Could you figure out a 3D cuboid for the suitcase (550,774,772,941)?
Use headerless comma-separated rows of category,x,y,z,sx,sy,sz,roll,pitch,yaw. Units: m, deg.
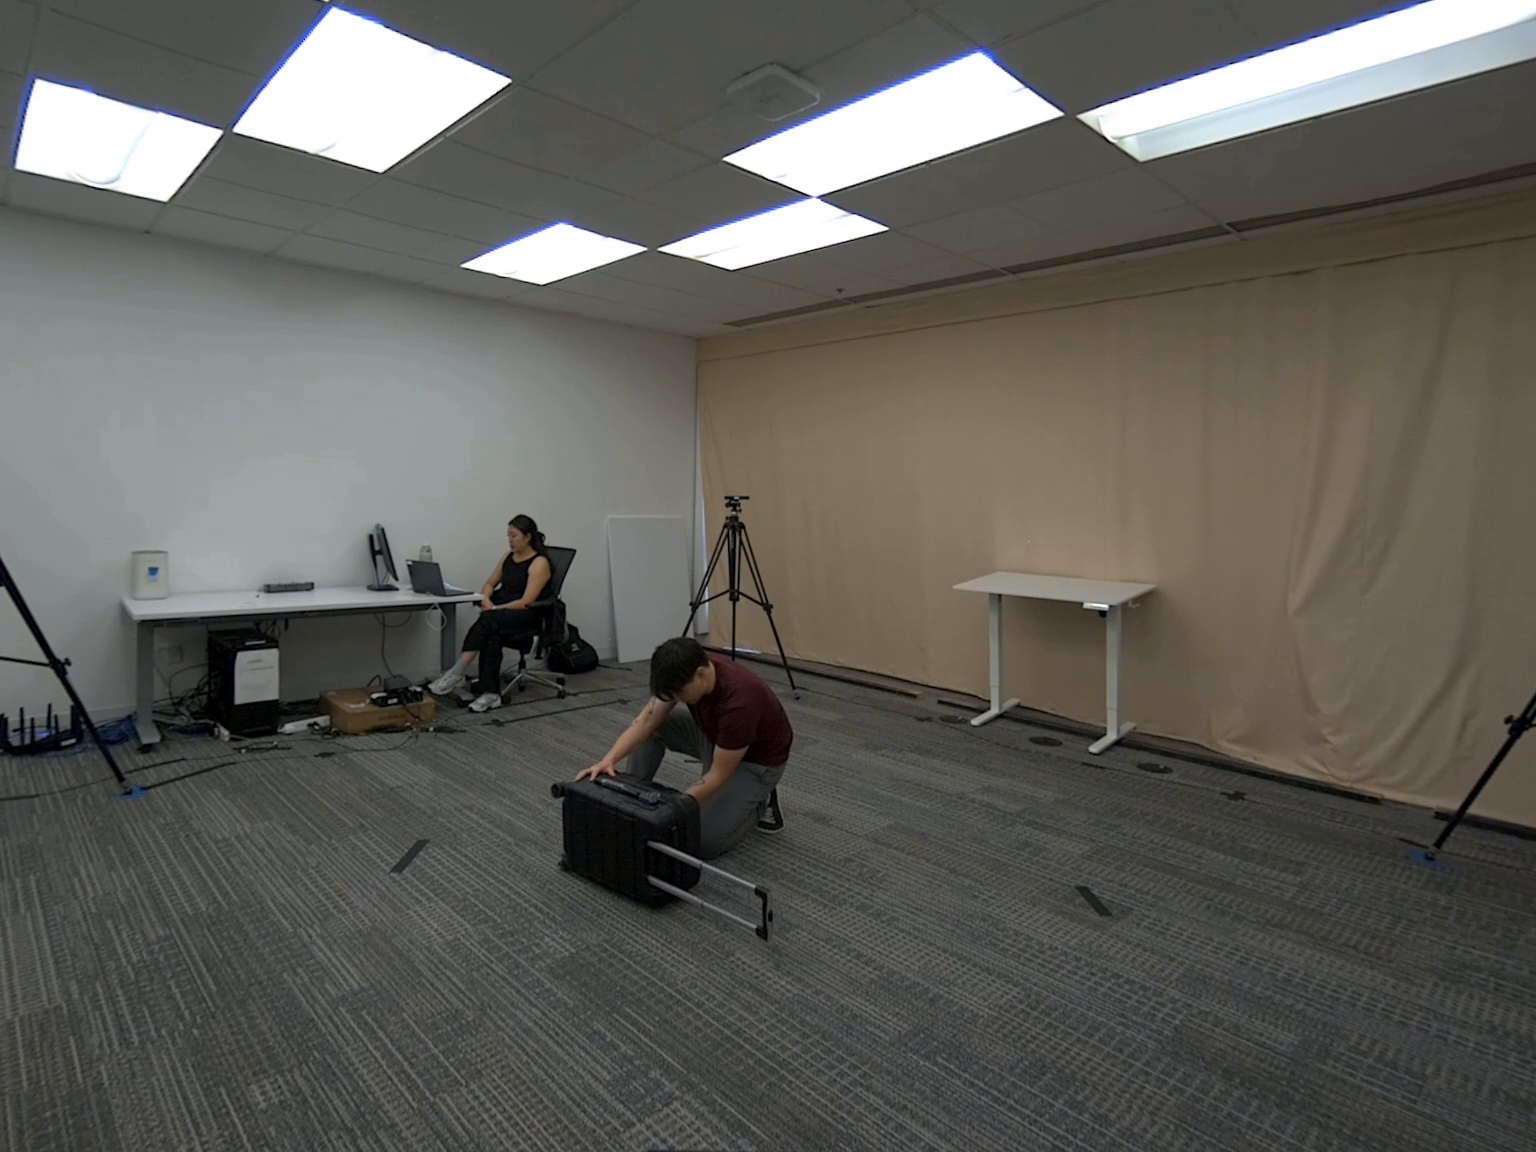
suitcase,-0.340,0.938,2.866,1.003,0.382,0.252,6,10,38
